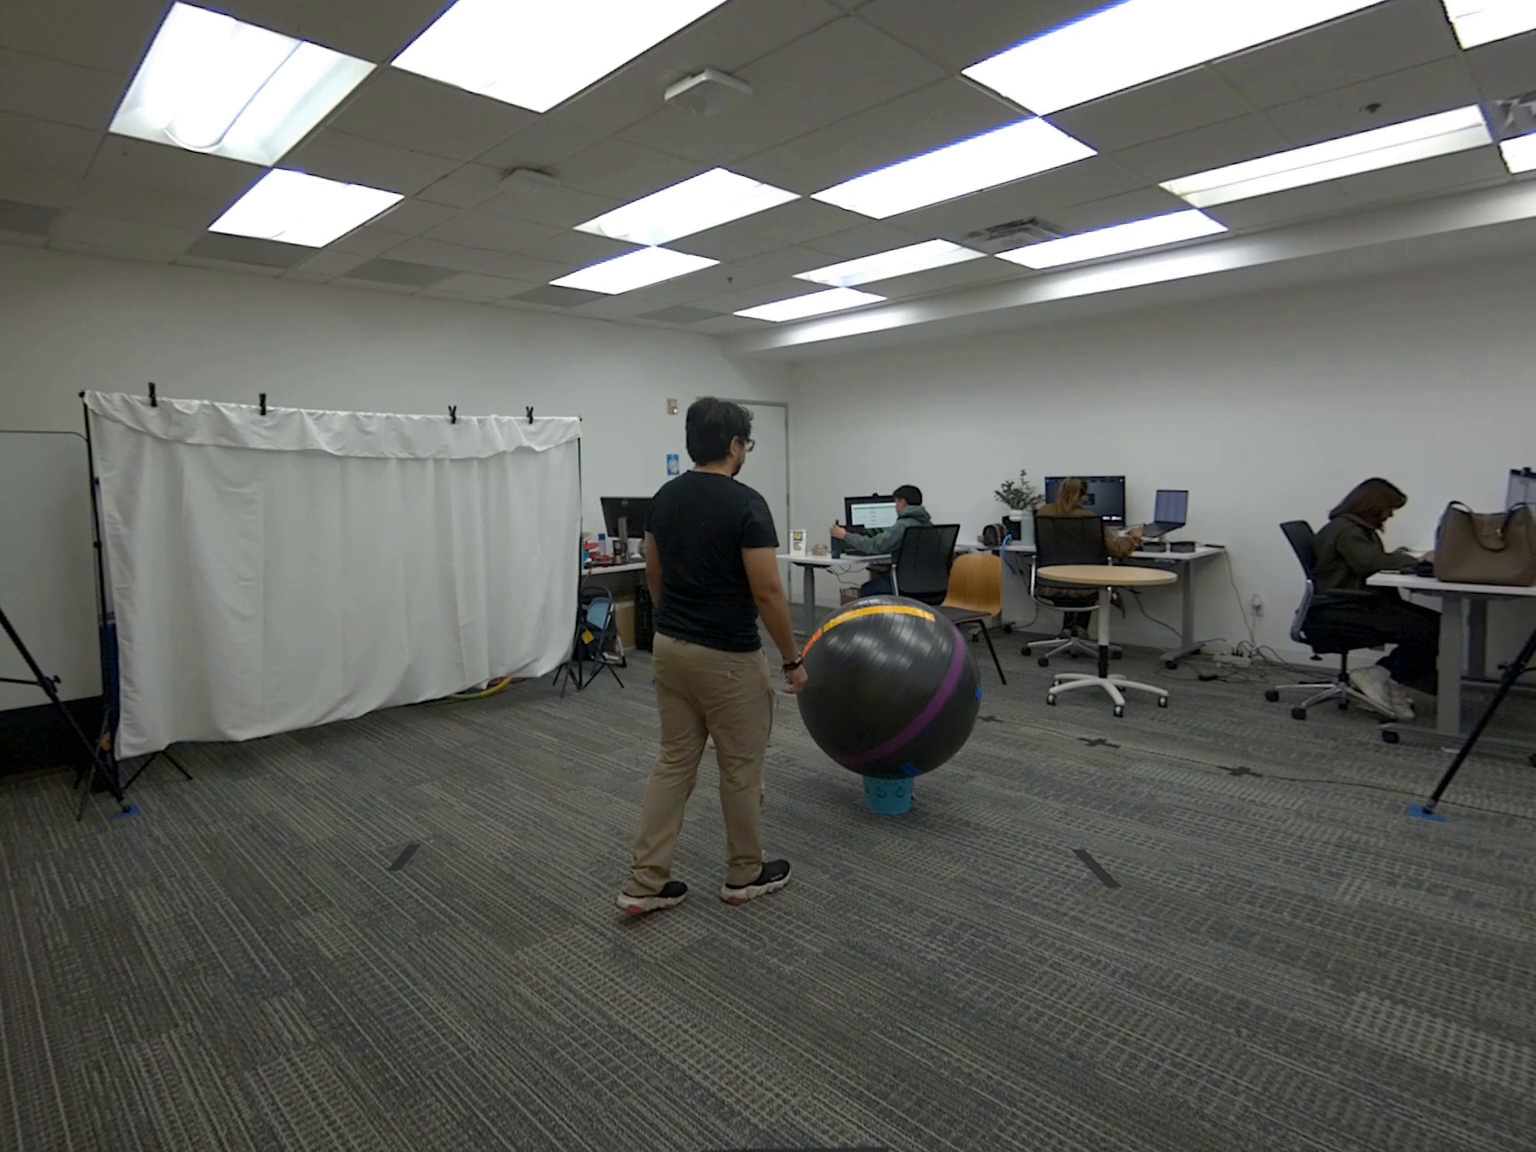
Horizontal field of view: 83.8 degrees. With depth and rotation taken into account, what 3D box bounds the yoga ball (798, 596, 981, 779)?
[{"bbox_3d":[0.495,0.462,3.571,0.757,0.755,0.762,-1,5,-2],"label":"yoga ball"}]
